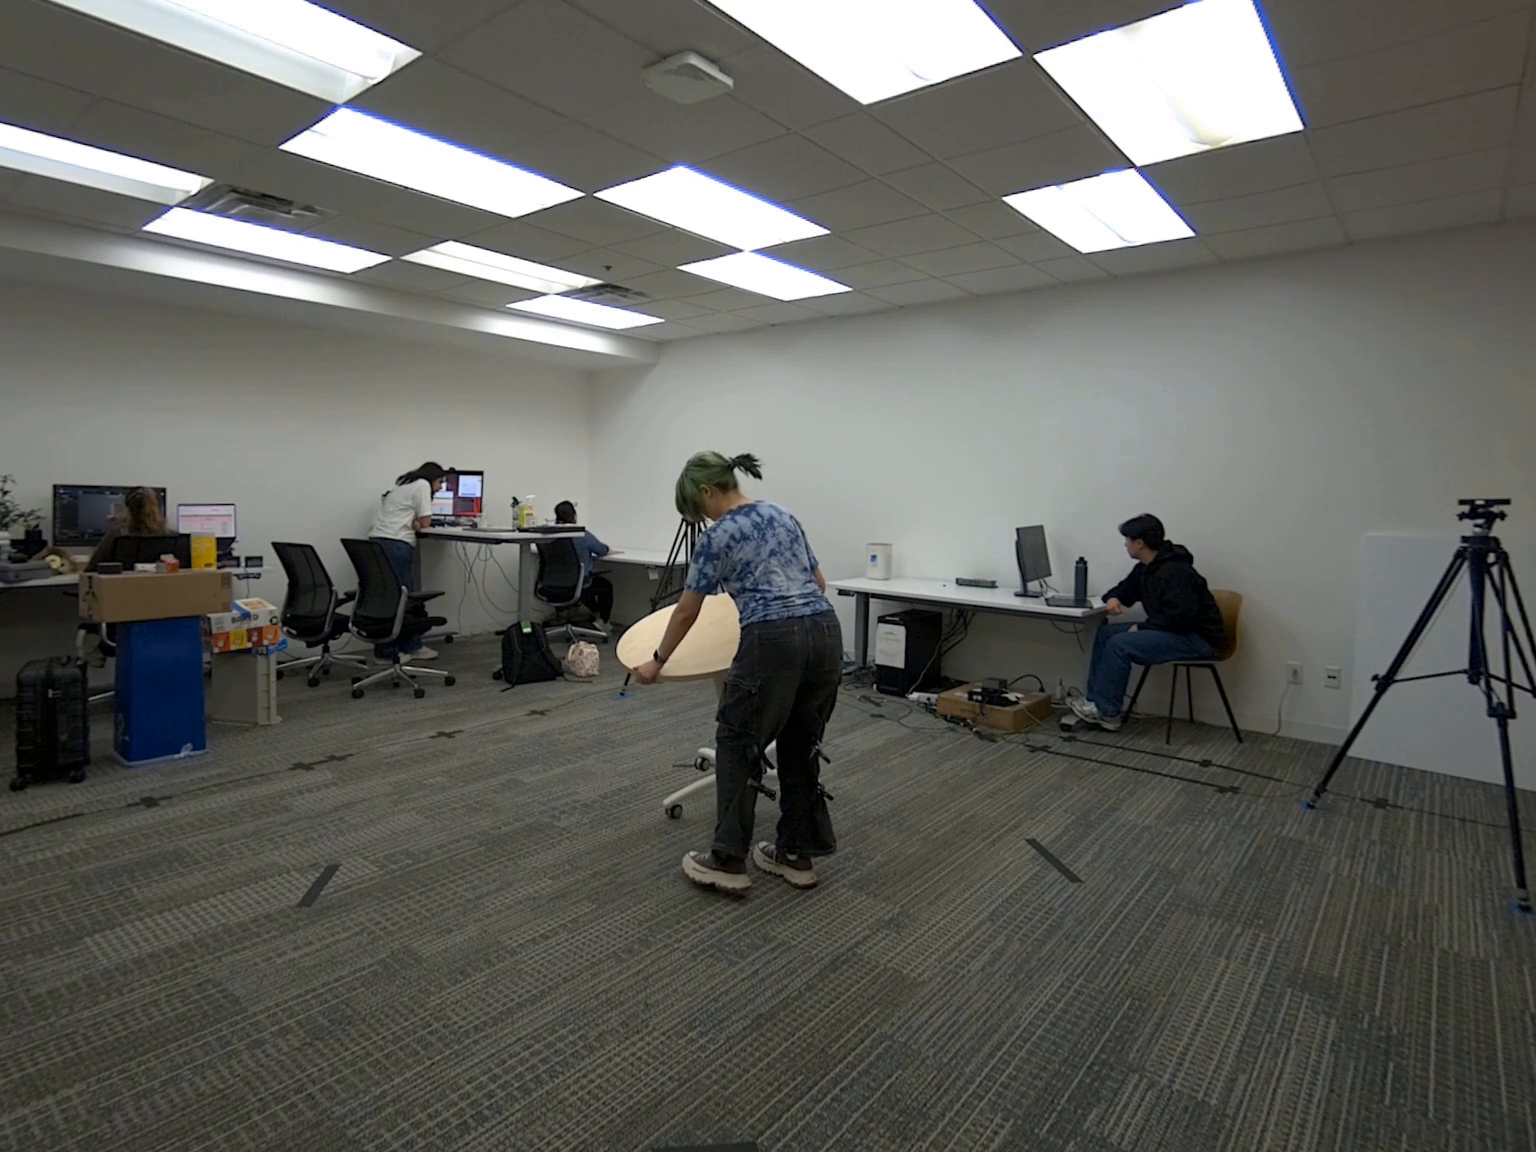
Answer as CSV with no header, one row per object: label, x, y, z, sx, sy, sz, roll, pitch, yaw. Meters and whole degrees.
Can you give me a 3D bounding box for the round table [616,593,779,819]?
round table,-0.188,0.581,3.555,0.765,0.779,0.777,-11,17,2
